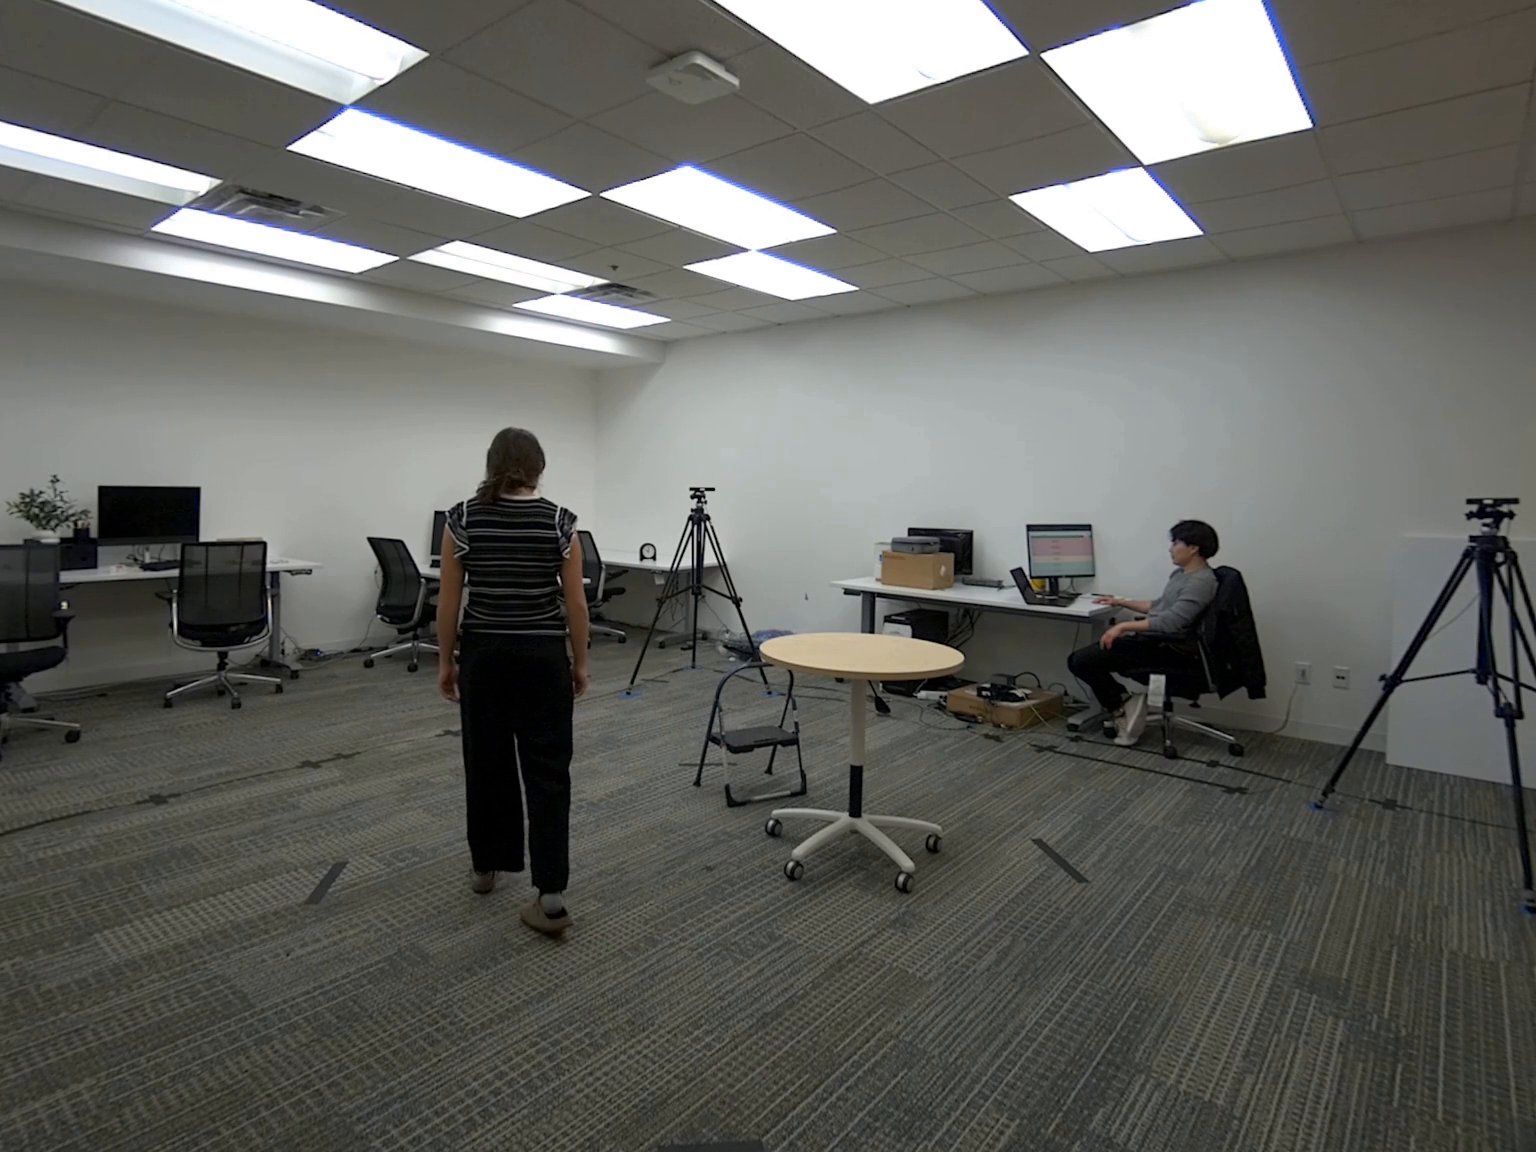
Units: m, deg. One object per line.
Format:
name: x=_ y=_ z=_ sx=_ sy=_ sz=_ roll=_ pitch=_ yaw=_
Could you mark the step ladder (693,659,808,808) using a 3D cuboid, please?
step ladder: x=-0.090 y=0.684 z=3.939 sx=0.419 sy=0.604 sz=0.360 roll=-2 pitch=4 yaw=-31
